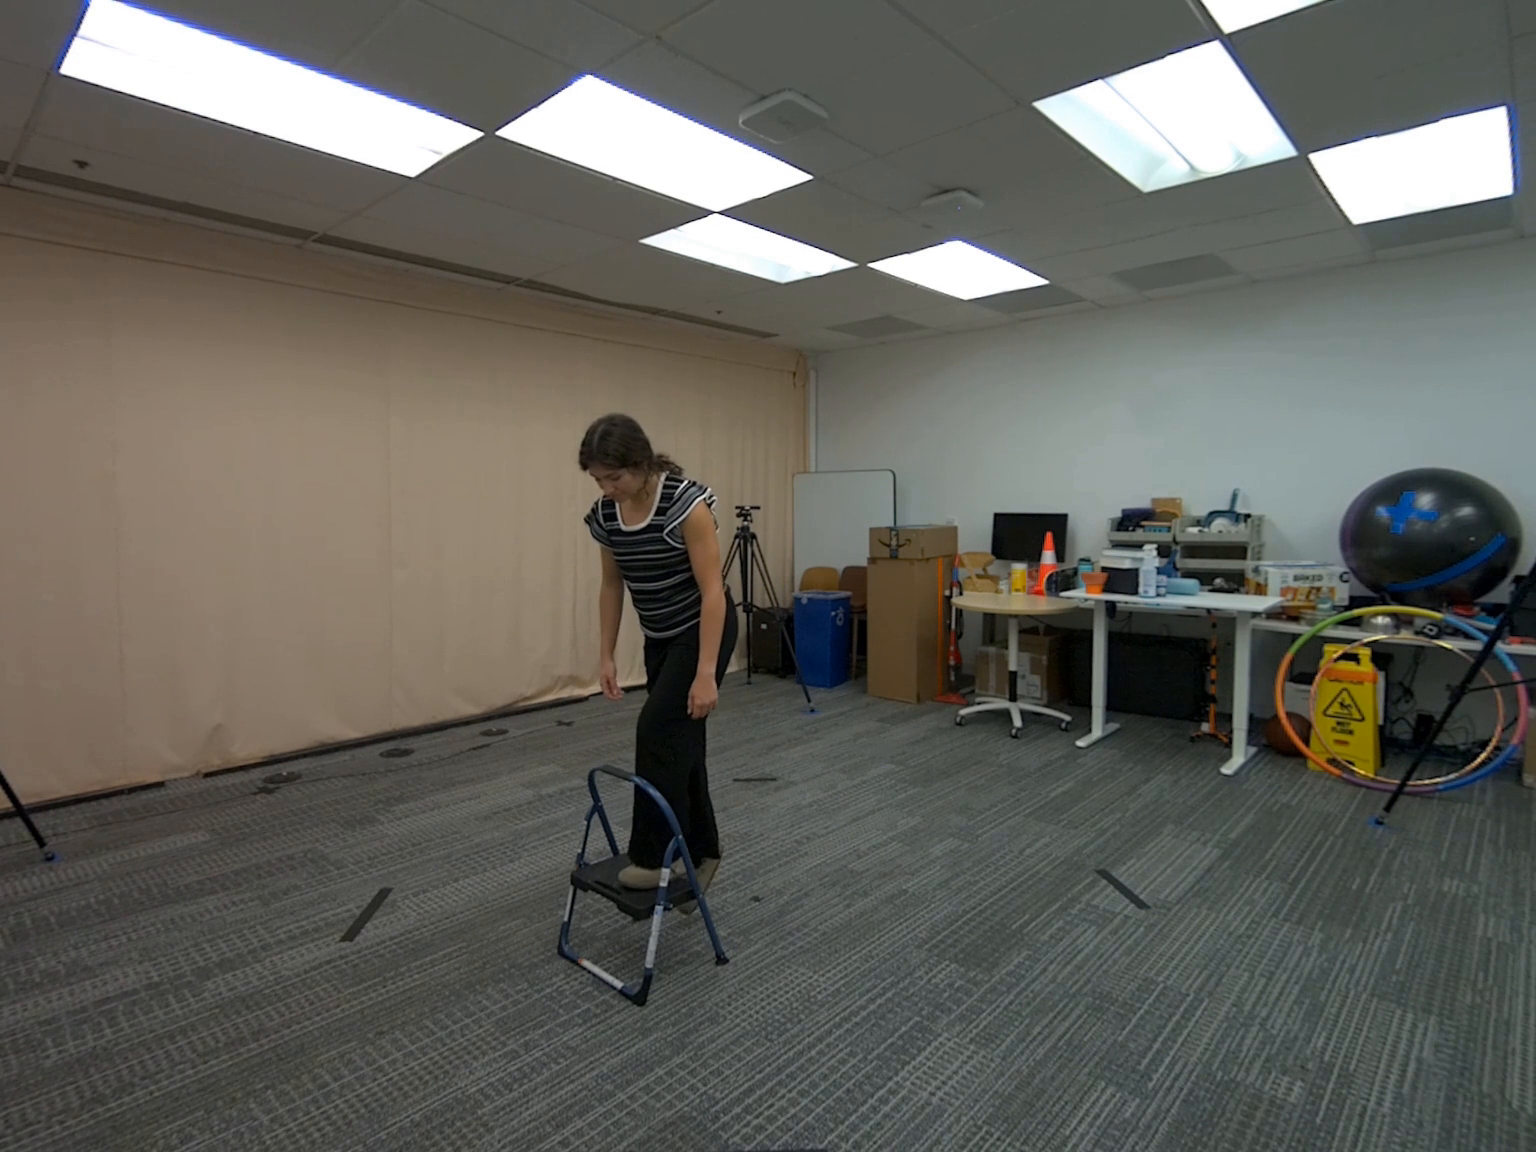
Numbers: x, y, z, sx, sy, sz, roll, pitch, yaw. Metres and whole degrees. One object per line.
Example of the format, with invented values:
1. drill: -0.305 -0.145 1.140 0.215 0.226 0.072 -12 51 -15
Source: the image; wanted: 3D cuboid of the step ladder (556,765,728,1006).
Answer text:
1. step ladder: -0.393 0.881 2.588 0.445 0.605 0.338 2 4 42
